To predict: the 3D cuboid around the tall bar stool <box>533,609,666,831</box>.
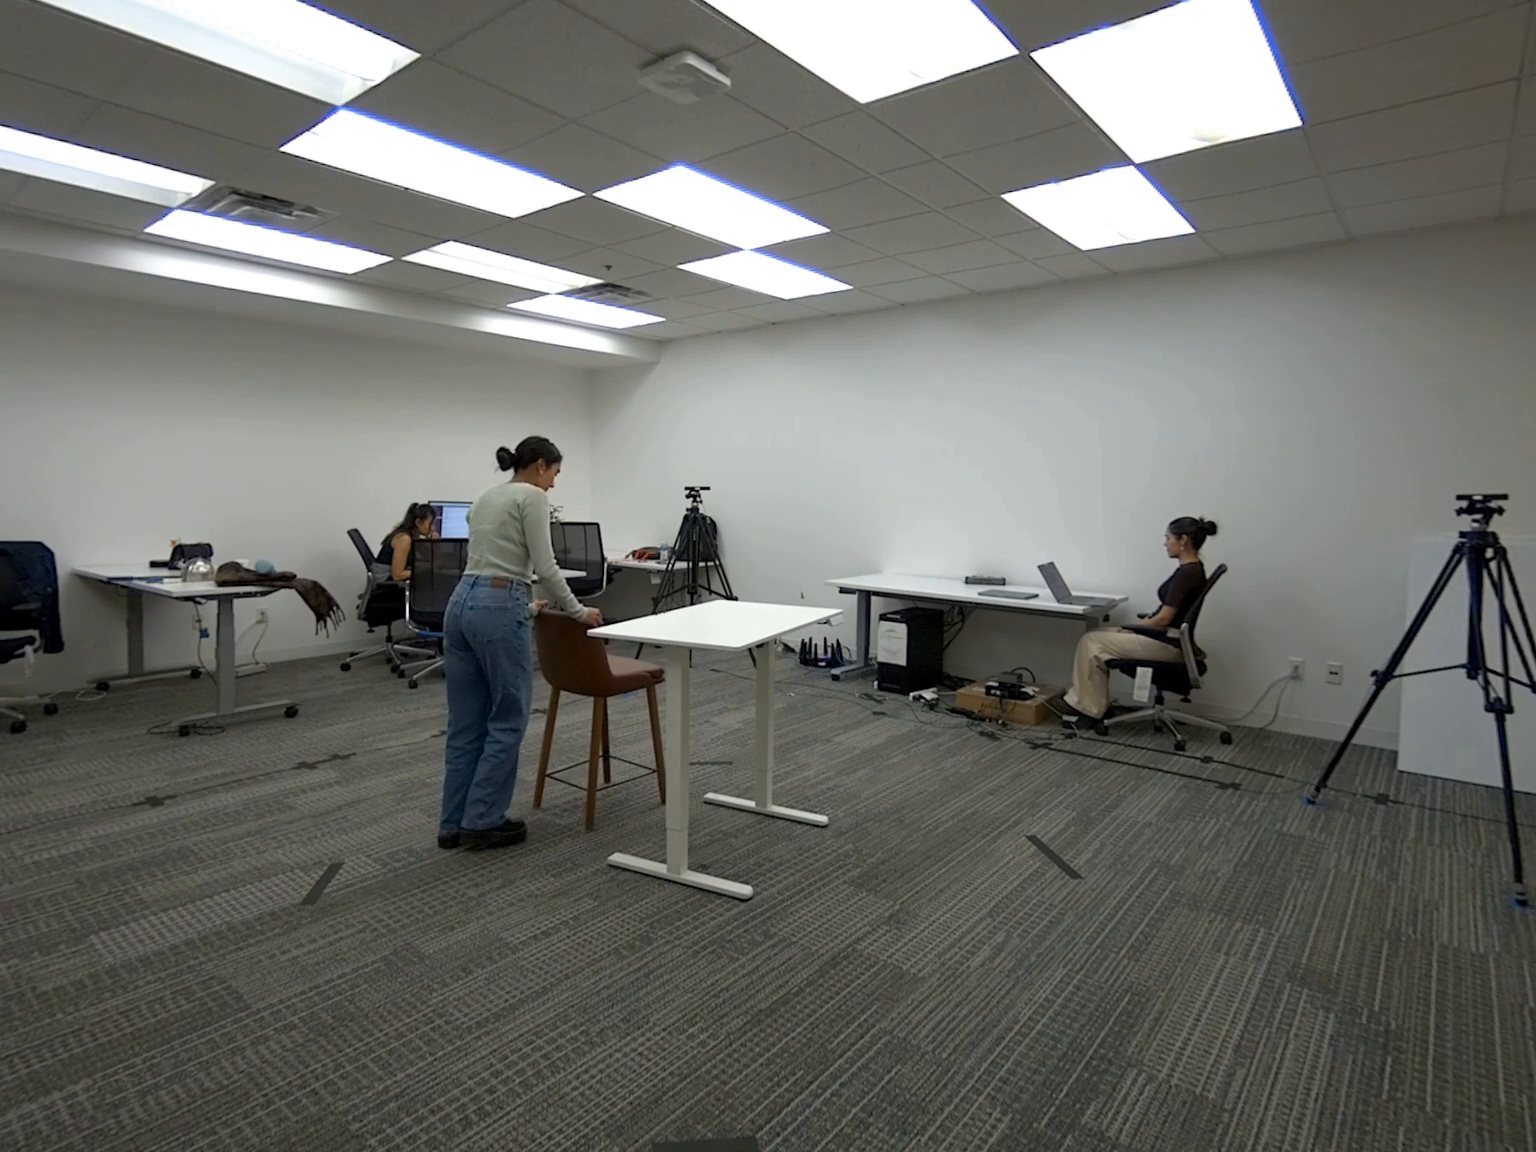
[{"bbox_3d":[-0.752,0.562,3.696,0.471,0.886,0.454,3,6,39],"label":"tall bar stool"}]
